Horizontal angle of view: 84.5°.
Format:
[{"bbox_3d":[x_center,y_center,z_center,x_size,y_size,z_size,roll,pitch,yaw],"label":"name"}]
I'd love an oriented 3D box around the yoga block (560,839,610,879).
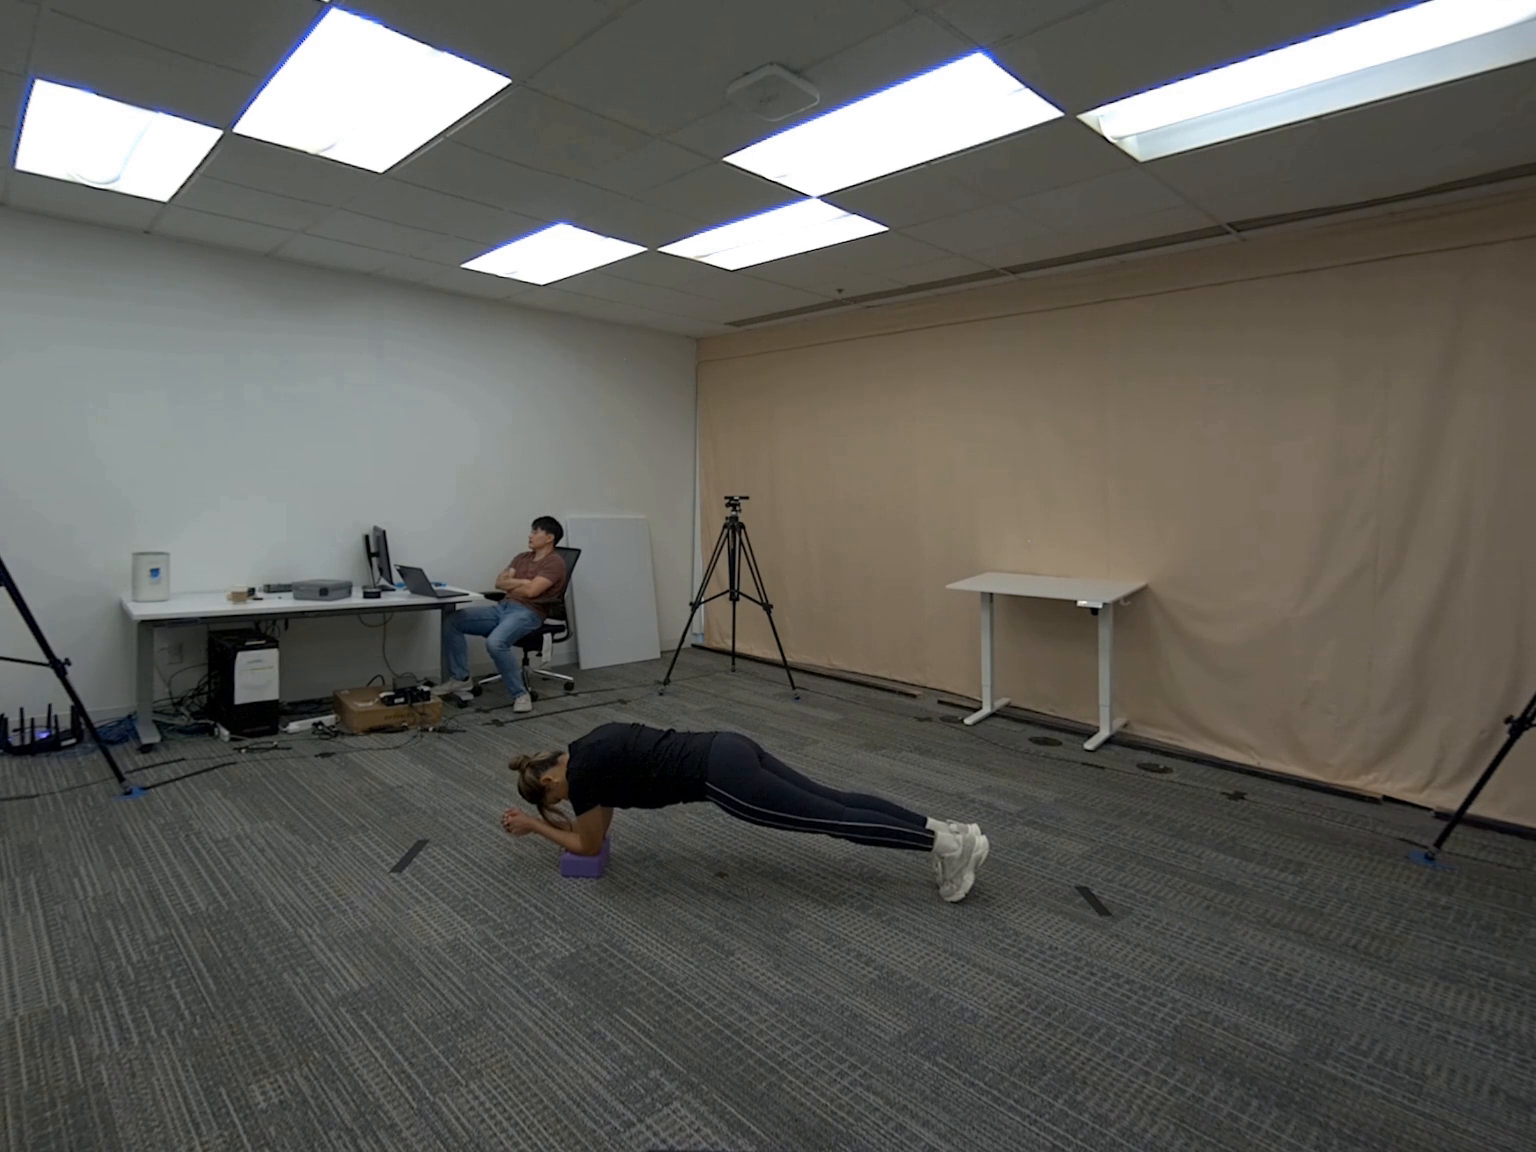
[{"bbox_3d":[-0.685,1.044,3.163,0.149,0.076,0.229,2,5,1],"label":"yoga block"}]
